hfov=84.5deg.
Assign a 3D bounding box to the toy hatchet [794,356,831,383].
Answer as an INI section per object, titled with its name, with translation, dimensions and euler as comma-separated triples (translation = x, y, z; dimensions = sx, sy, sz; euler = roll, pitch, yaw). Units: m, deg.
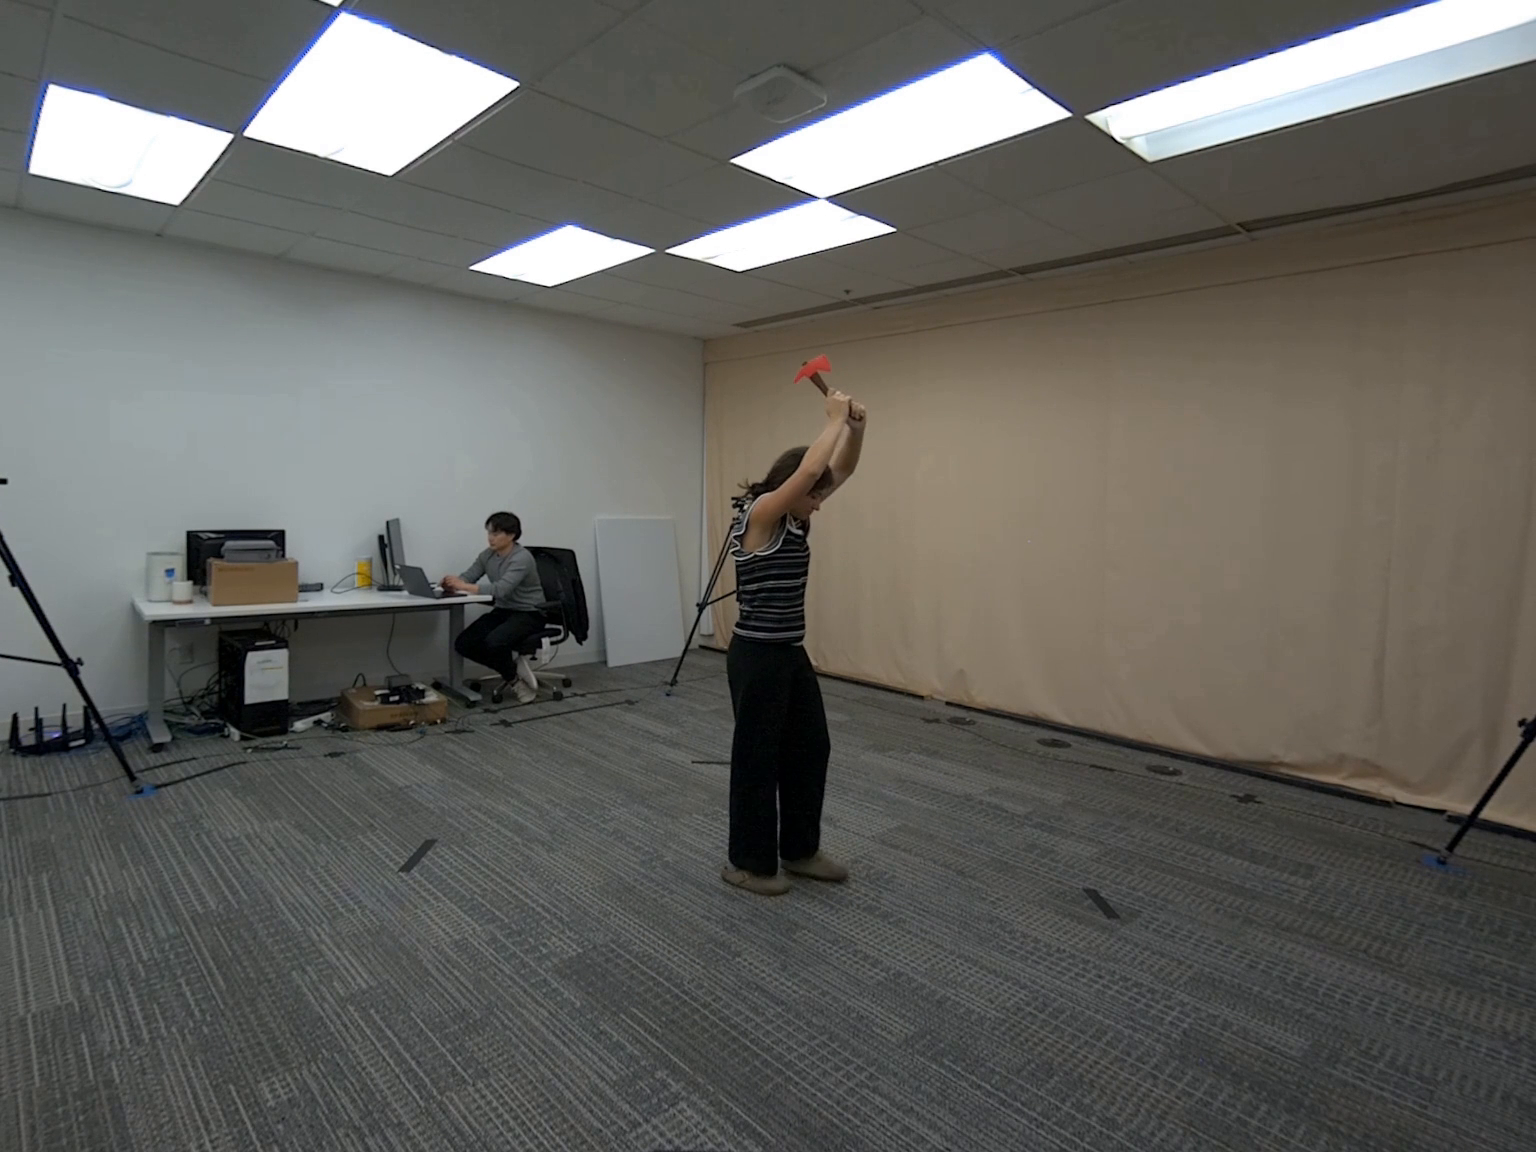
[toy hatchet]
translation = 0.221, -0.643, 2.825
dimensions = 0.270, 0.131, 0.029
euler = 30, 5, 0
